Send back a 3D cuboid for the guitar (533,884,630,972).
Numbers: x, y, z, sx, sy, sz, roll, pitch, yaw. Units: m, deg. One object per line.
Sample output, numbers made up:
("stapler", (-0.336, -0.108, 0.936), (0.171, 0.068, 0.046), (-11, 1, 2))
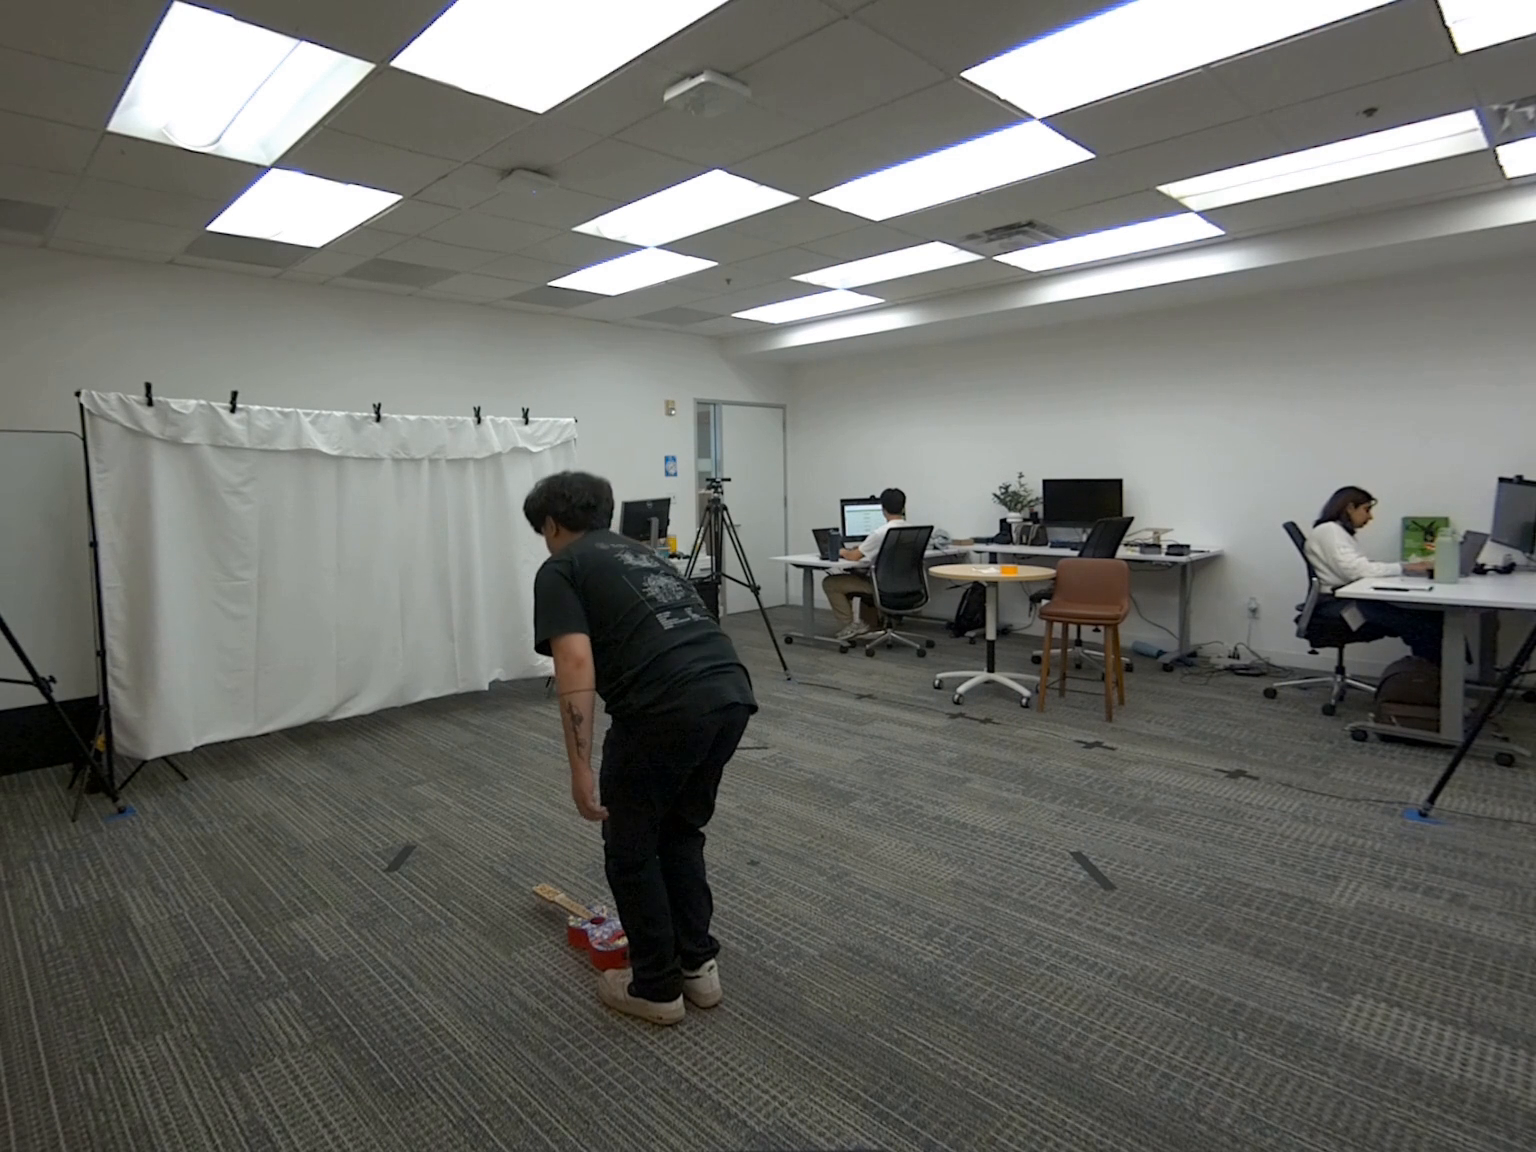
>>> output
("guitar", (-0.543, 1.067, 2.668), (0.188, 0.070, 0.513), (-7, 10, -38))
